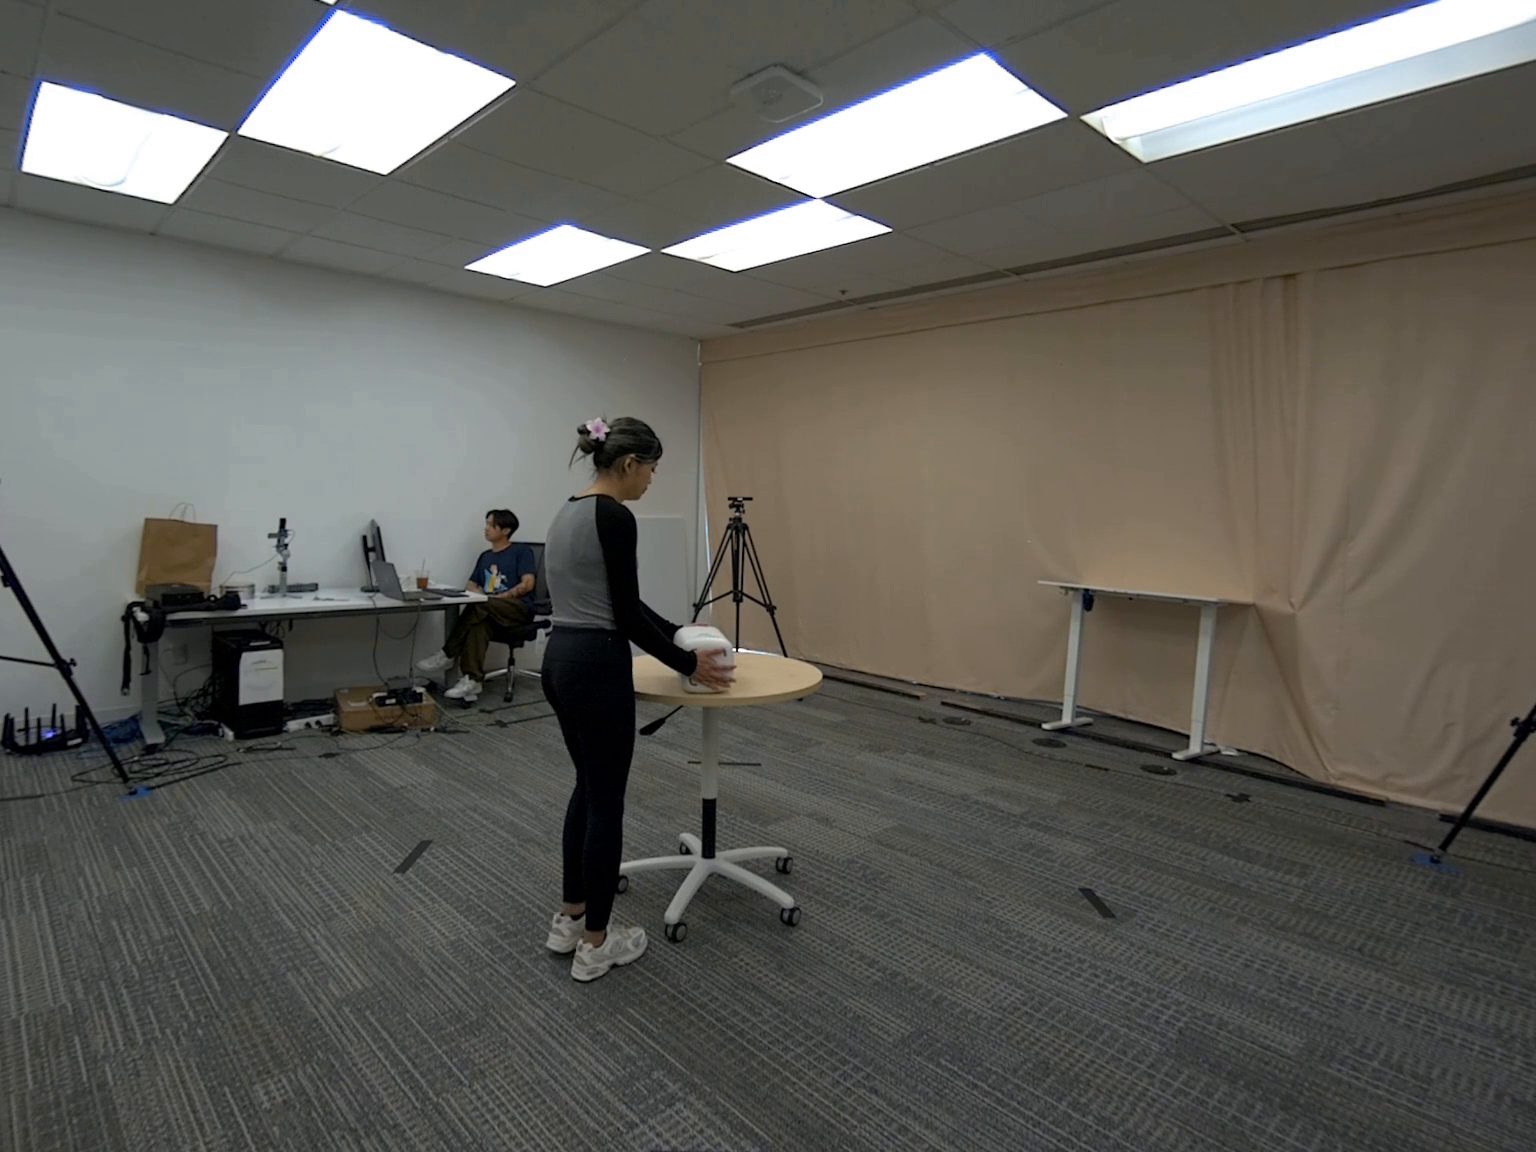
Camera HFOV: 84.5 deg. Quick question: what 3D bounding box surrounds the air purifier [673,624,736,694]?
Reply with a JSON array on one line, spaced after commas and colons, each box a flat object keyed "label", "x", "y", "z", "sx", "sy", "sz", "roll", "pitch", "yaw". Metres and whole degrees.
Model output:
[{"label": "air purifier", "x": -0.206, "y": 0.264, "z": 2.688, "sx": 0.170, "sy": 0.171, "sz": 0.268, "roll": -1, "pitch": 5, "yaw": -10}]
